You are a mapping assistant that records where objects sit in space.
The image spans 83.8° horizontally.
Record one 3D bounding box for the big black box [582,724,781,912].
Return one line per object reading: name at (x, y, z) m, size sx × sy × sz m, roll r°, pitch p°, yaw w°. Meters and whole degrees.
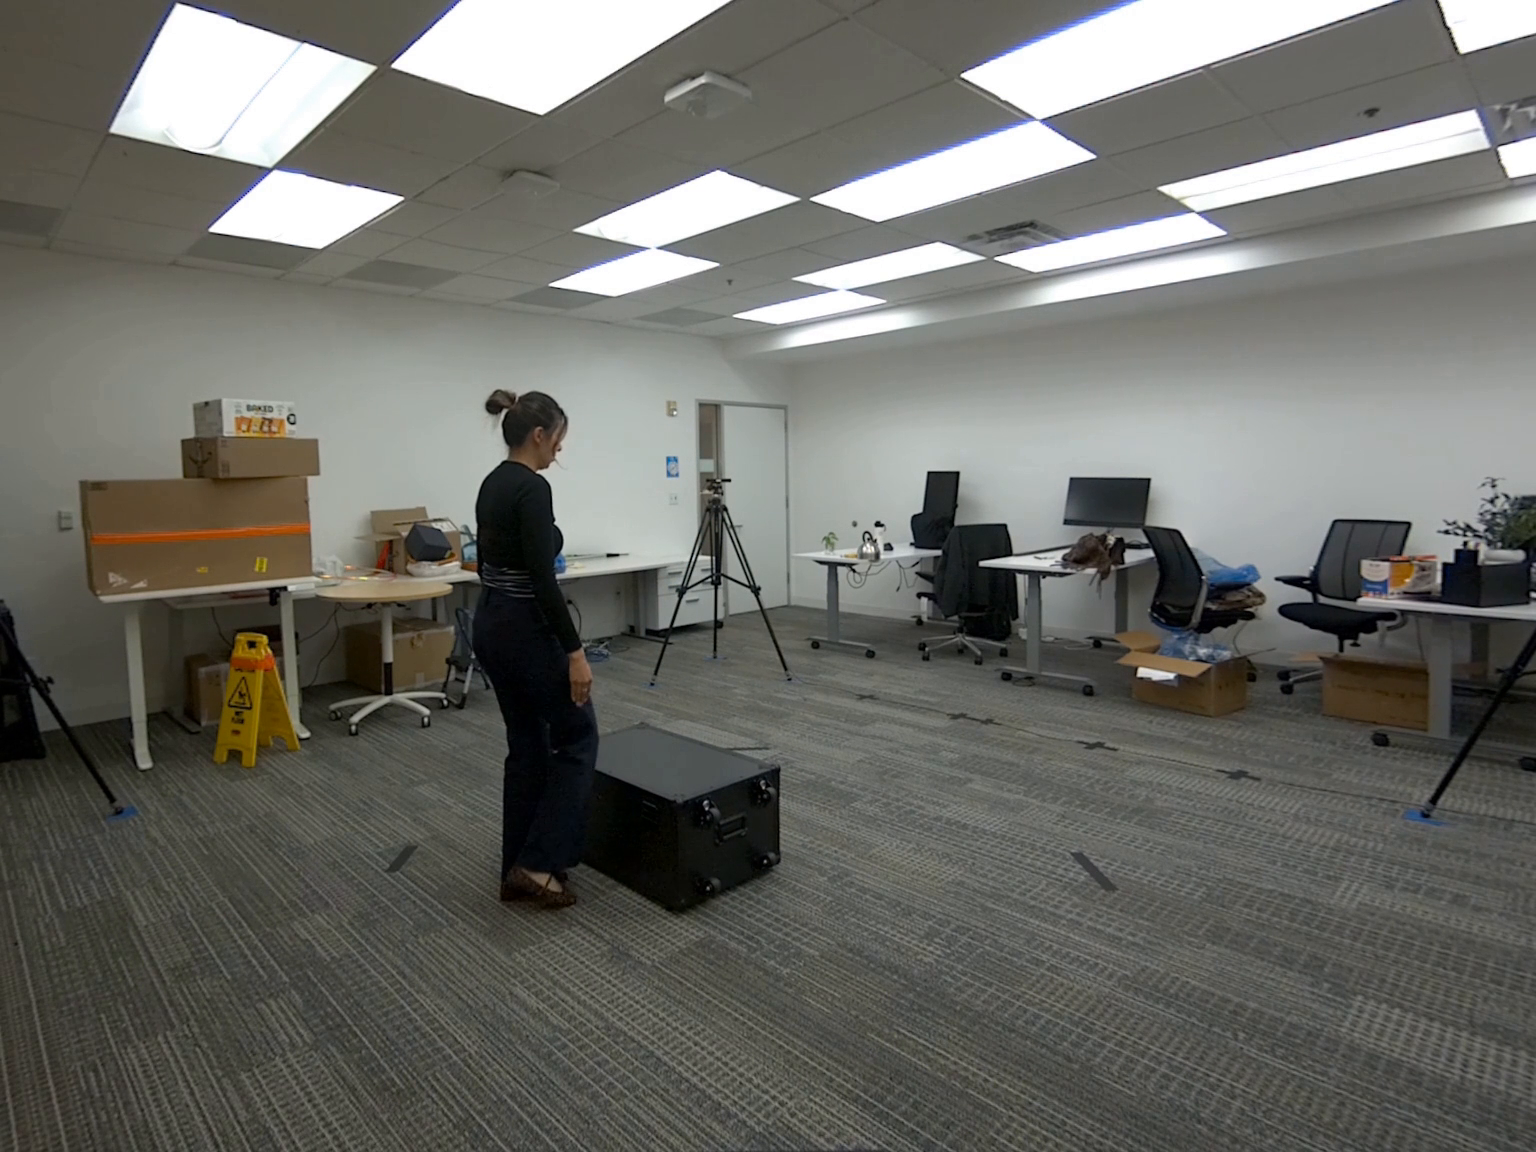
big black box at (-0.416, 0.852, 3.187) m, size 0.507 × 0.394 × 0.888 m, roll -6°, pitch 8°, yaw -44°
